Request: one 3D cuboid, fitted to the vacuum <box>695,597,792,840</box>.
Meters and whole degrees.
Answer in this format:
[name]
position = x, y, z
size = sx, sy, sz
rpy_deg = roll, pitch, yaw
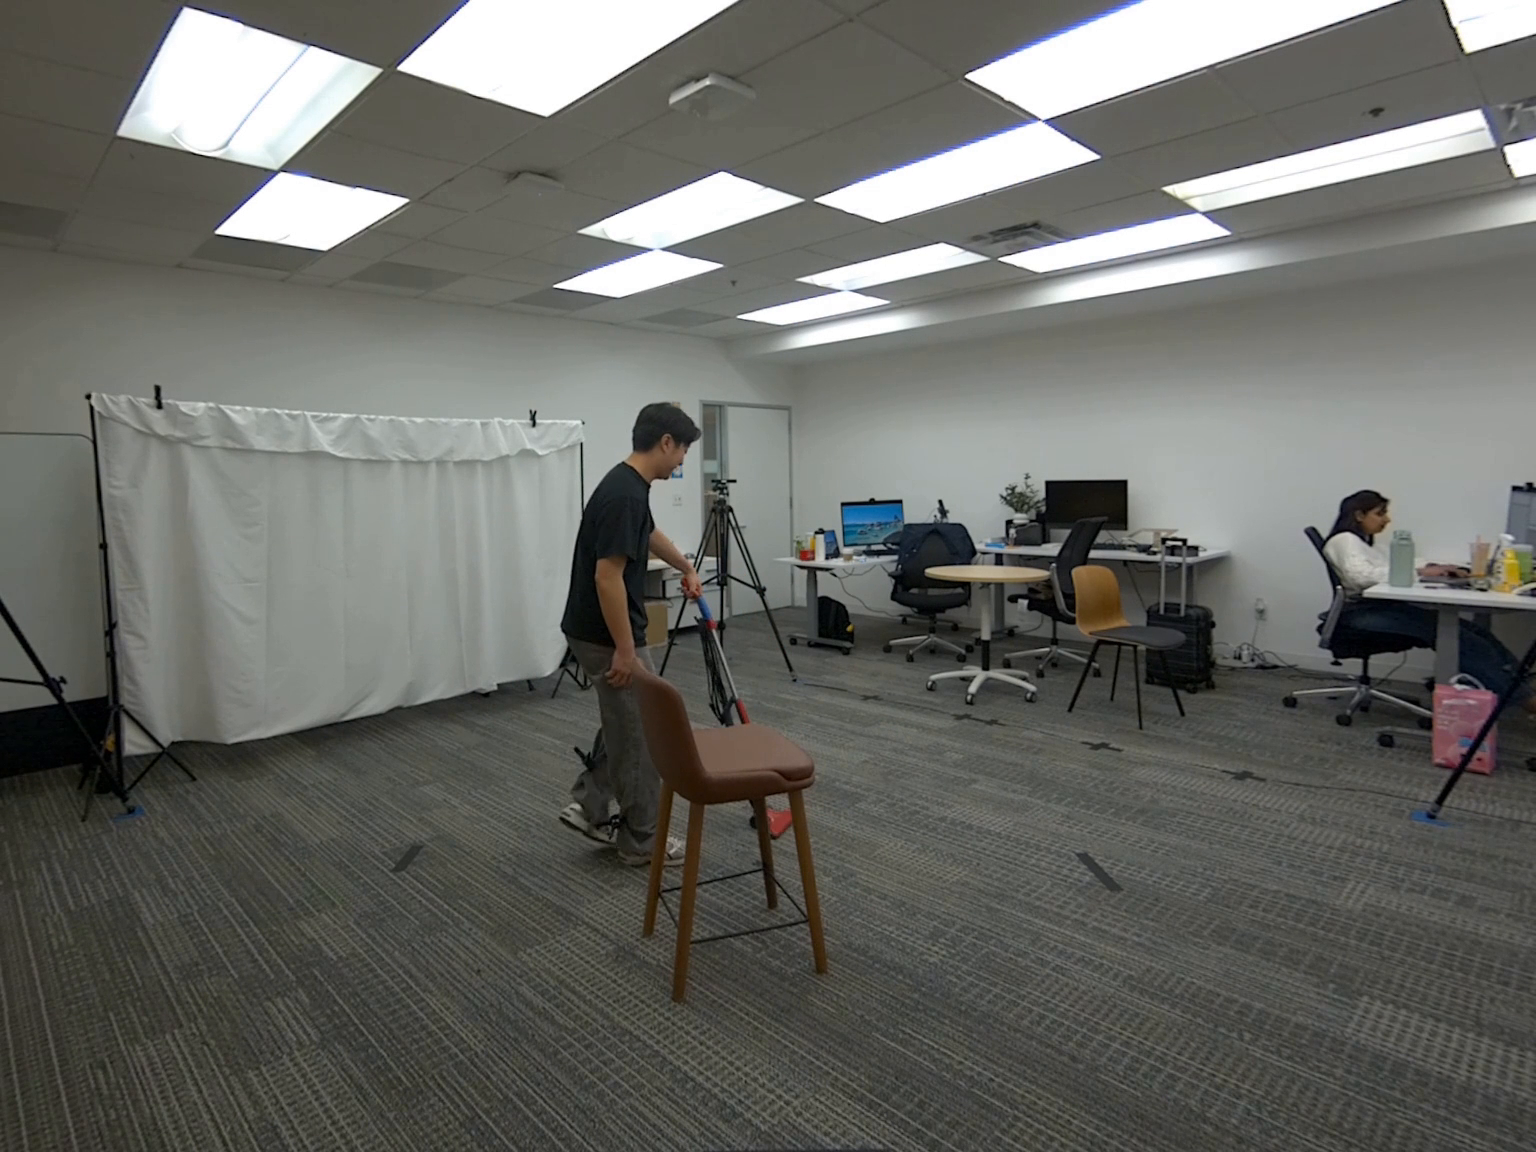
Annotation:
[vacuum]
position = -0.165, 0.510, 3.516
size = 0.146, 1.057, 0.247
rpy_deg = -23, -6, 28
